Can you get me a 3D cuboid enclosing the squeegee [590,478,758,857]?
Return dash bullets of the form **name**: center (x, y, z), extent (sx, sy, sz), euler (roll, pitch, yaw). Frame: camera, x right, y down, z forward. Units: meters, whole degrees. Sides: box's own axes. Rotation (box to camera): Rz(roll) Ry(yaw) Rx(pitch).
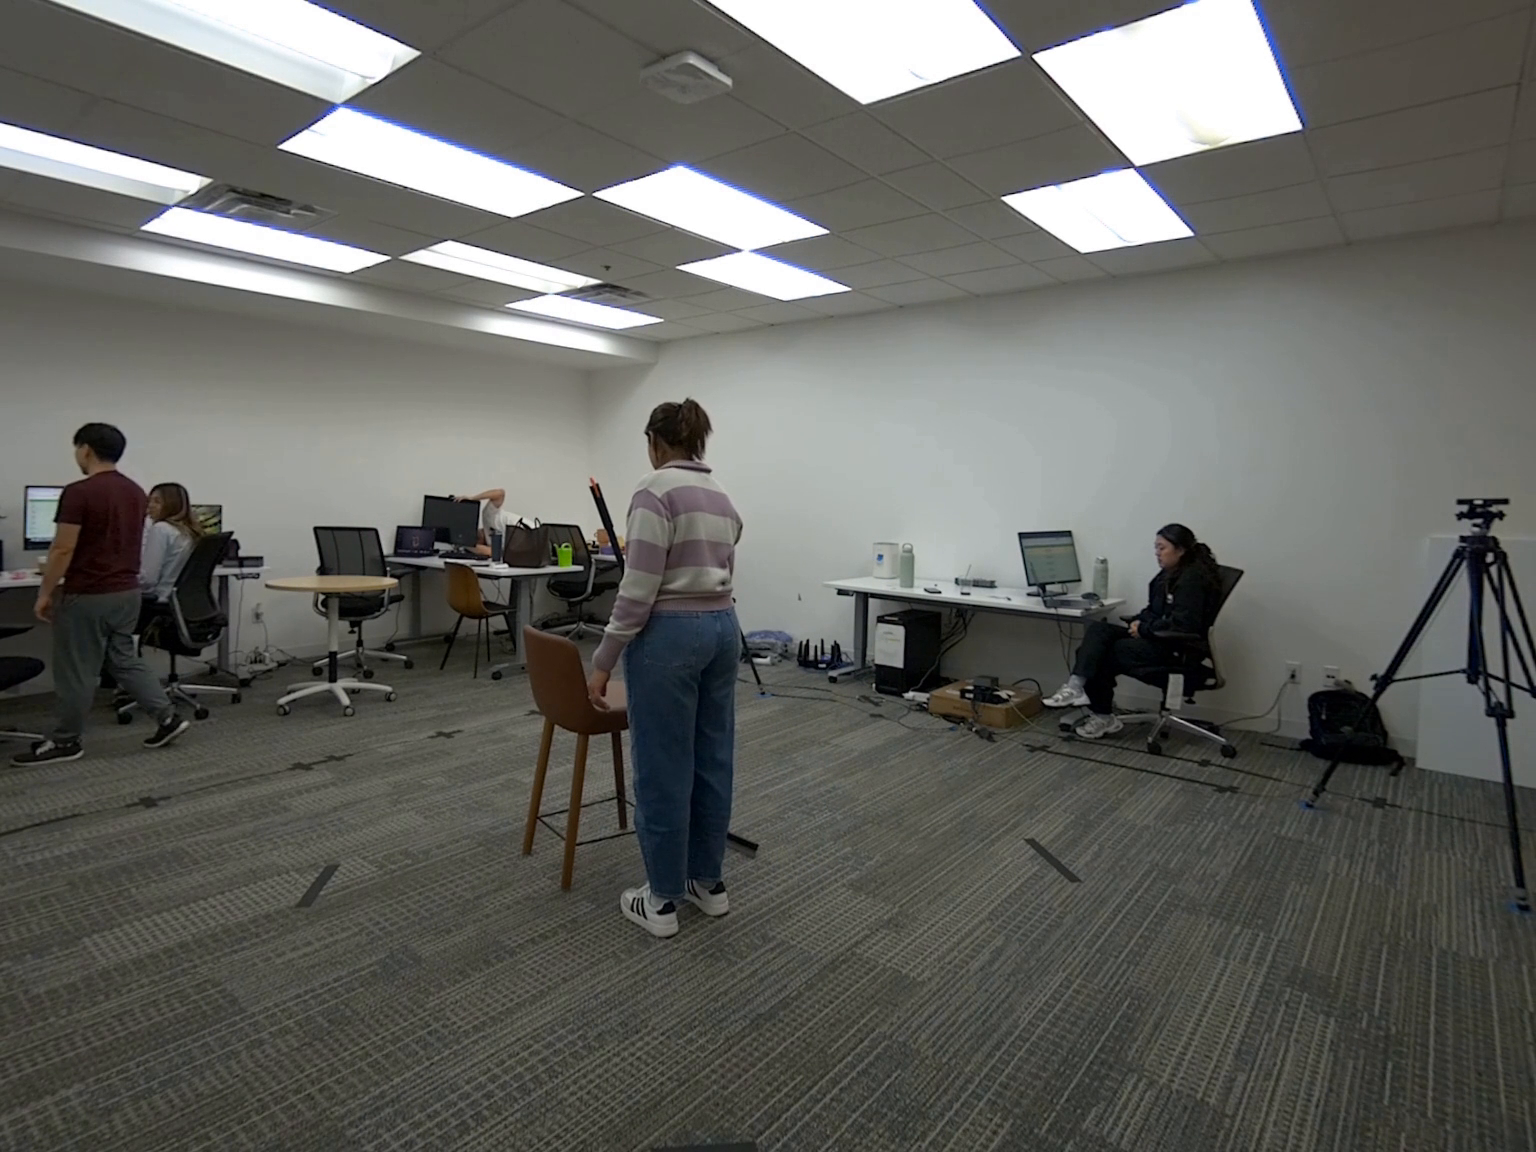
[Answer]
- **squeegee**: center (-0.400, 0.338, 3.153), extent (0.452, 1.507, 0.052), euler (2, 23, 44)
